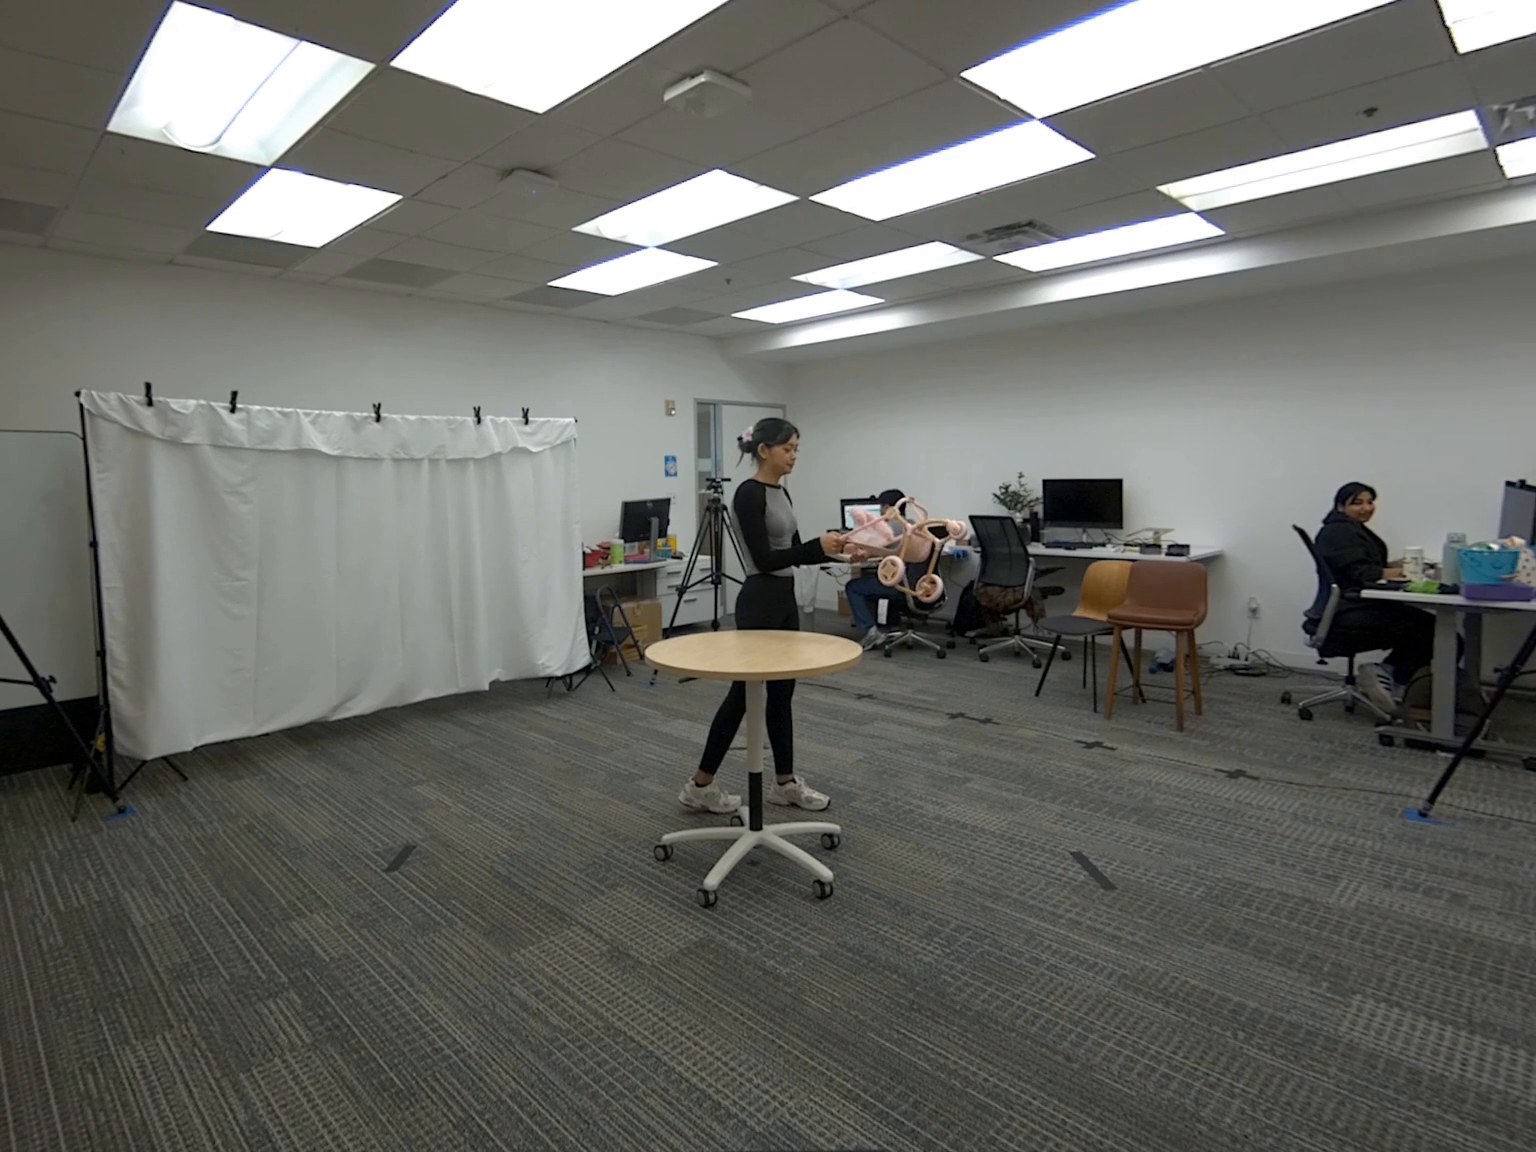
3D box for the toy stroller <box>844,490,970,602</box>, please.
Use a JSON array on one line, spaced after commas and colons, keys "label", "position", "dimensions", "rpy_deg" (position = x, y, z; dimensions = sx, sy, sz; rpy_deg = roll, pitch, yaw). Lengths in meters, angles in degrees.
[{"label": "toy stroller", "position": [0.486, -0.143, 3.238], "dimensions": [0.272, 0.340, 0.556], "rpy_deg": [14, 13, -41]}]
